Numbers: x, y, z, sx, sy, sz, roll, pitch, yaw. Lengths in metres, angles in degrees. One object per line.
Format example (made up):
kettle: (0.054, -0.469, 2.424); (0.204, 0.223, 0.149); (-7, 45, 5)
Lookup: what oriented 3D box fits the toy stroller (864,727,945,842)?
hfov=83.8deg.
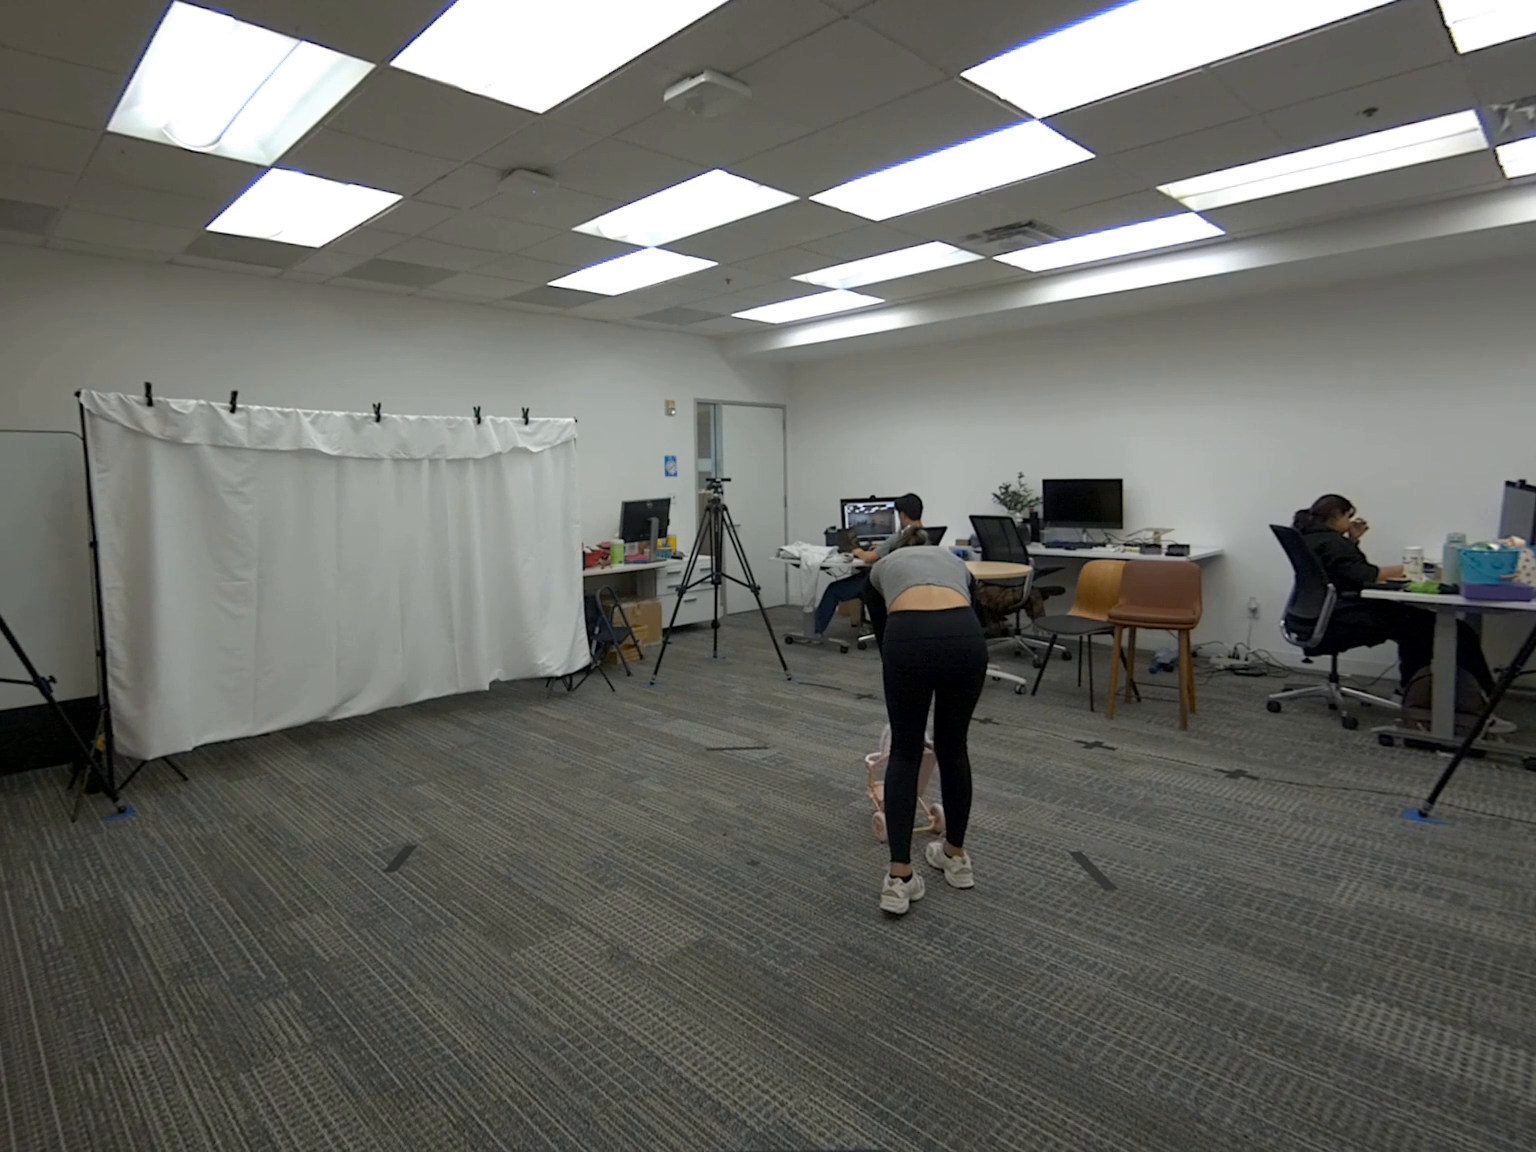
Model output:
toy stroller: (0.532, 0.780, 3.364); (0.277, 0.527, 0.351); (-1, 20, -15)
